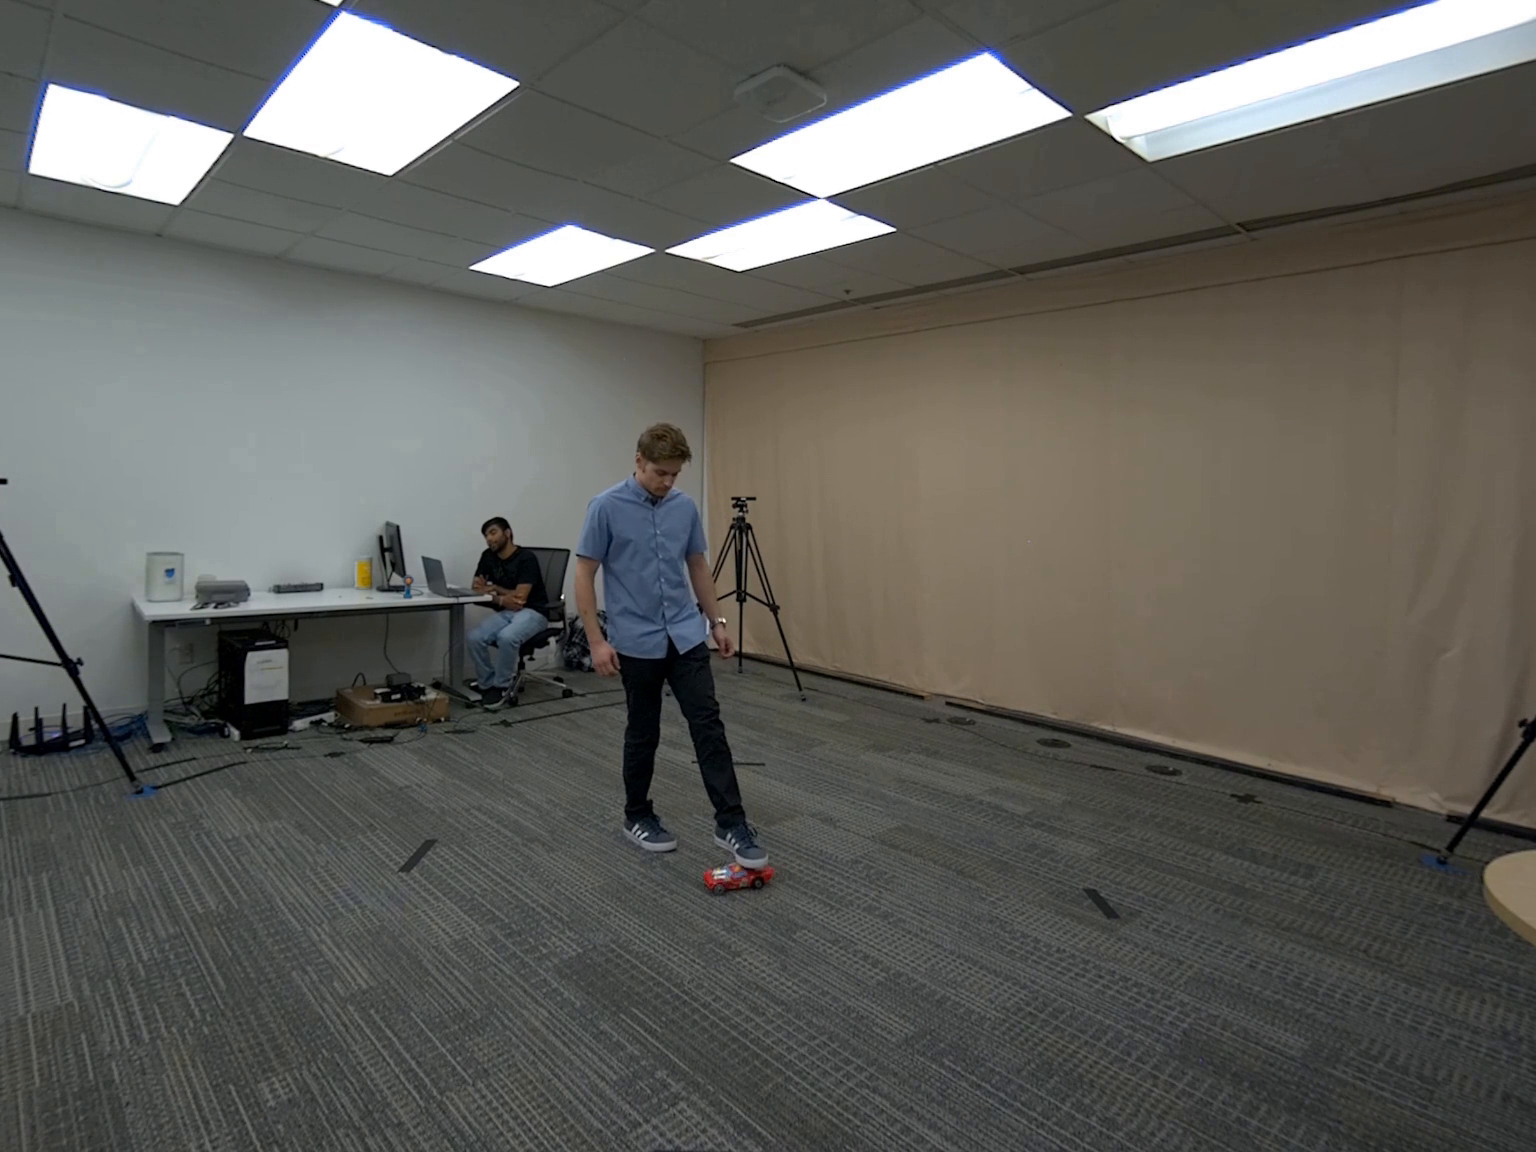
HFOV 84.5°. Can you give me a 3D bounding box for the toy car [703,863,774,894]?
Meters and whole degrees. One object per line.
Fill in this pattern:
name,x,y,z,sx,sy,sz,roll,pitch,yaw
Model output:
toy car,-0.116,1.084,3.029,0.252,0.083,0.132,-11,9,-18
